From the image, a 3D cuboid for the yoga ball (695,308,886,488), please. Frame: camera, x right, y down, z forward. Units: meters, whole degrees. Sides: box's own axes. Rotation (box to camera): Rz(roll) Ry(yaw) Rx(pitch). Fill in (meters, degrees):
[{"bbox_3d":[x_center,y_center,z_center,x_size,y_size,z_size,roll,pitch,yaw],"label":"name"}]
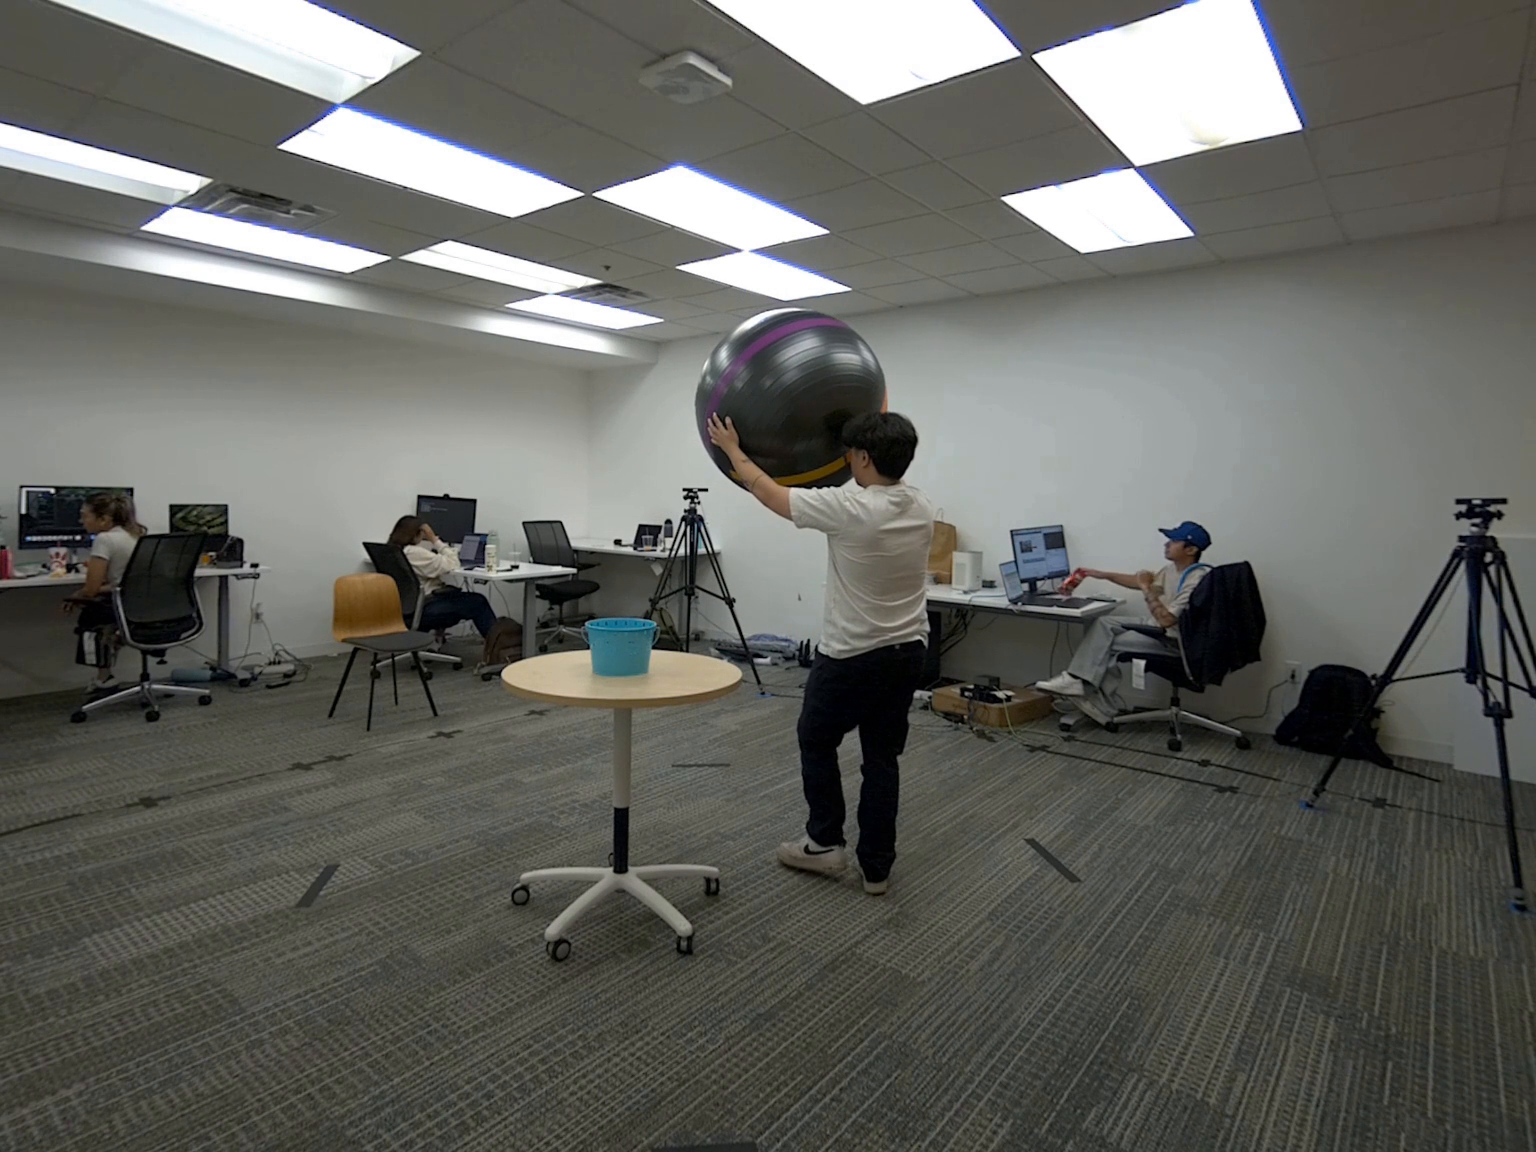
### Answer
[{"bbox_3d":[0.077,-0.675,3.394,0.757,0.755,0.762,1,4,-2],"label":"yoga ball"}]
